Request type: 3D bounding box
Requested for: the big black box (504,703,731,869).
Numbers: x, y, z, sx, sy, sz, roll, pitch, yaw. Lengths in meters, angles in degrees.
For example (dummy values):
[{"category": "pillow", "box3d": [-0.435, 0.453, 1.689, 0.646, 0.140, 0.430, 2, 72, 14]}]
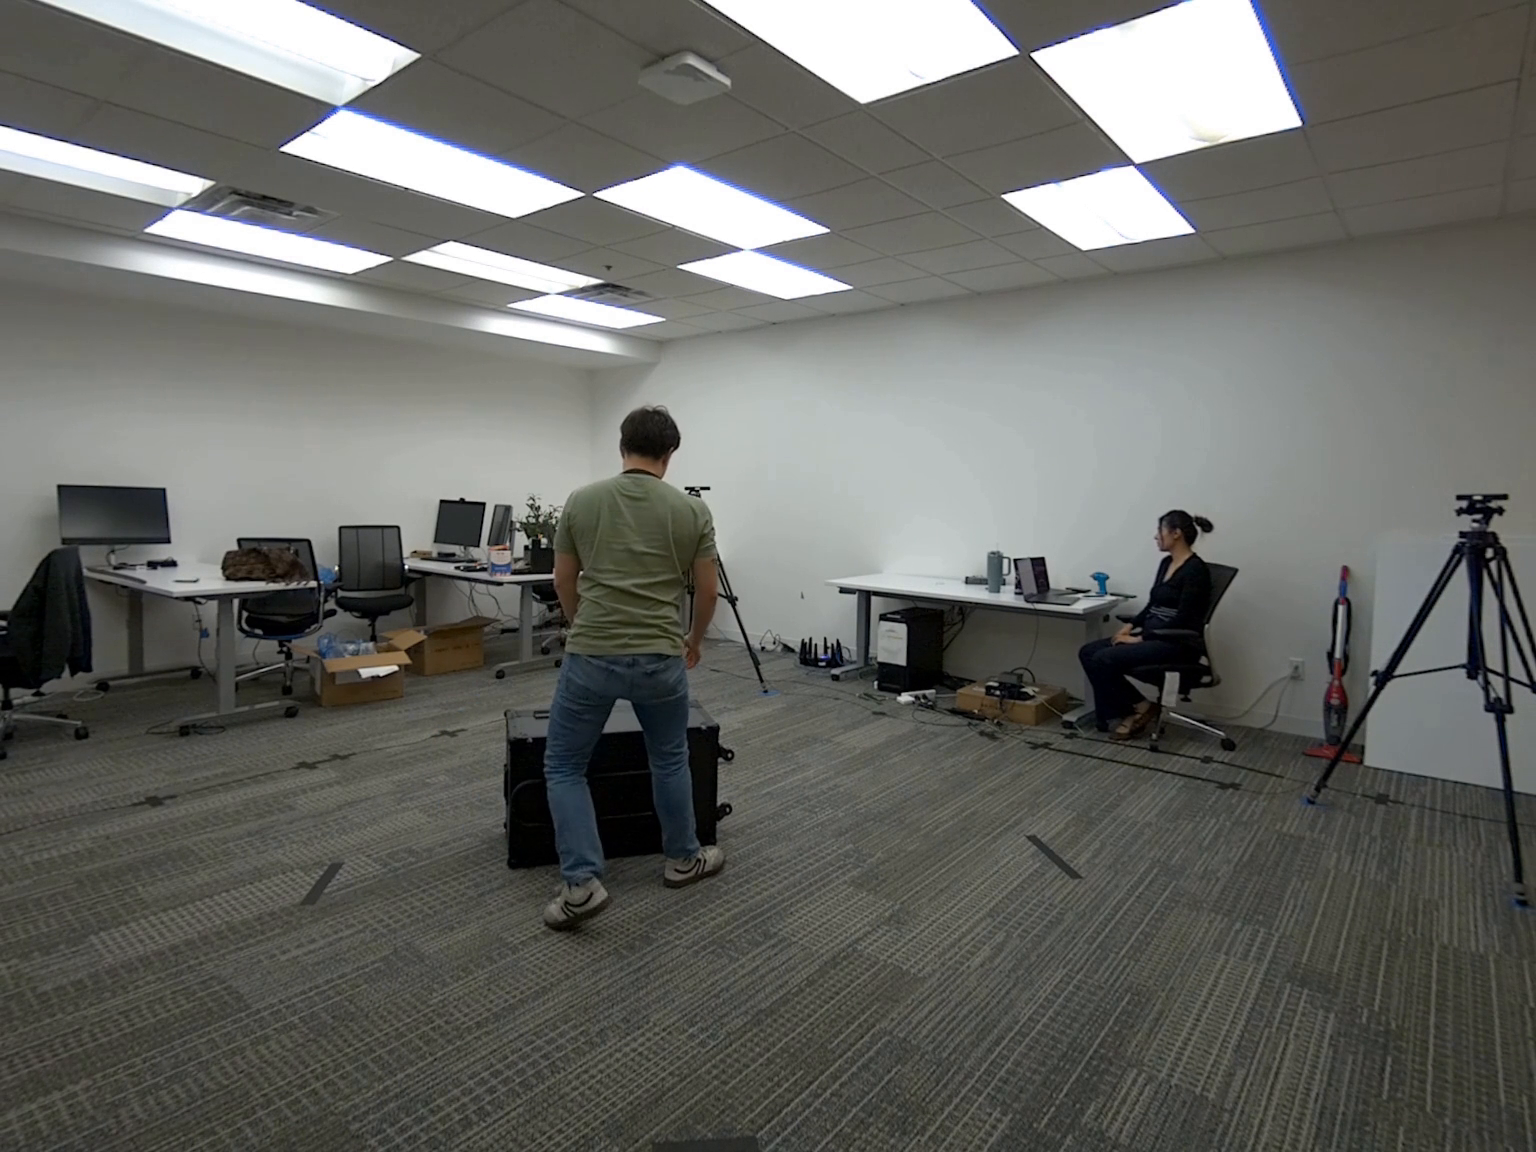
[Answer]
[{"category": "big black box", "box3d": [-0.594, 0.779, 3.316, 0.846, 0.518, 0.406, -1, 7, -17]}]
